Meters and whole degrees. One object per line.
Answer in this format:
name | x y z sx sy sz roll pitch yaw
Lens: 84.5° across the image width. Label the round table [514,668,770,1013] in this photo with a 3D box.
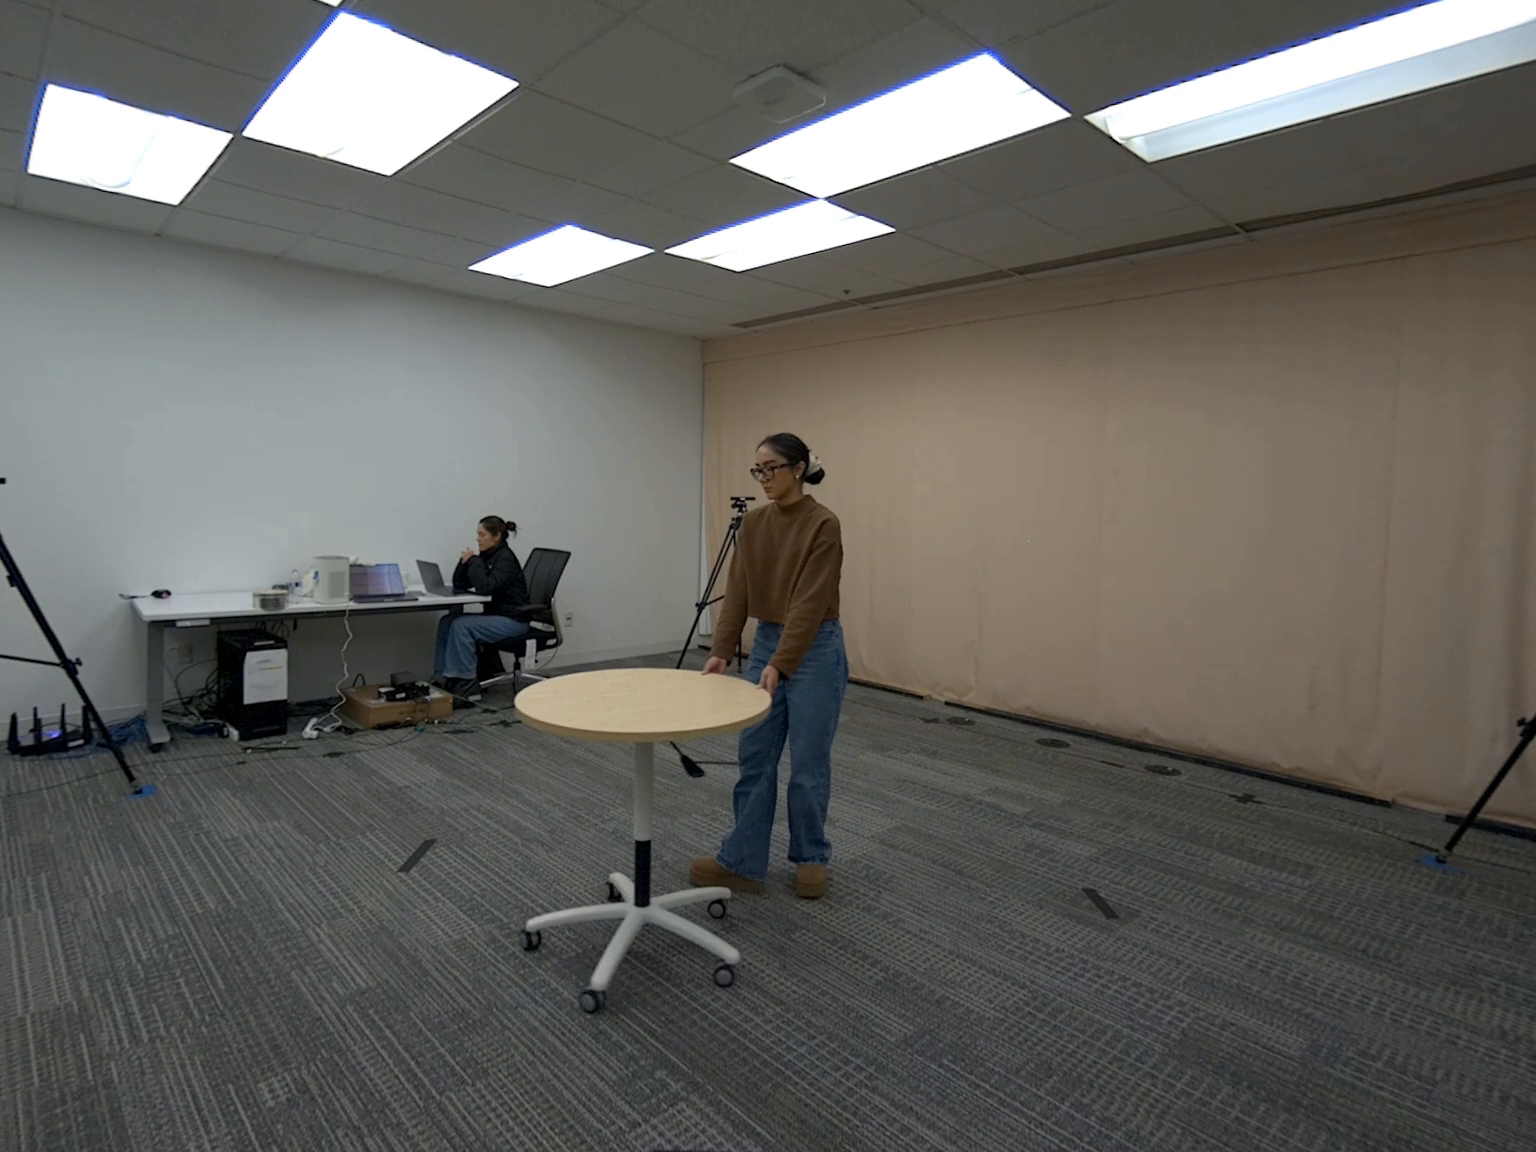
round table | -0.387 0.754 2.593 0.784 0.784 0.788 2 5 -2
